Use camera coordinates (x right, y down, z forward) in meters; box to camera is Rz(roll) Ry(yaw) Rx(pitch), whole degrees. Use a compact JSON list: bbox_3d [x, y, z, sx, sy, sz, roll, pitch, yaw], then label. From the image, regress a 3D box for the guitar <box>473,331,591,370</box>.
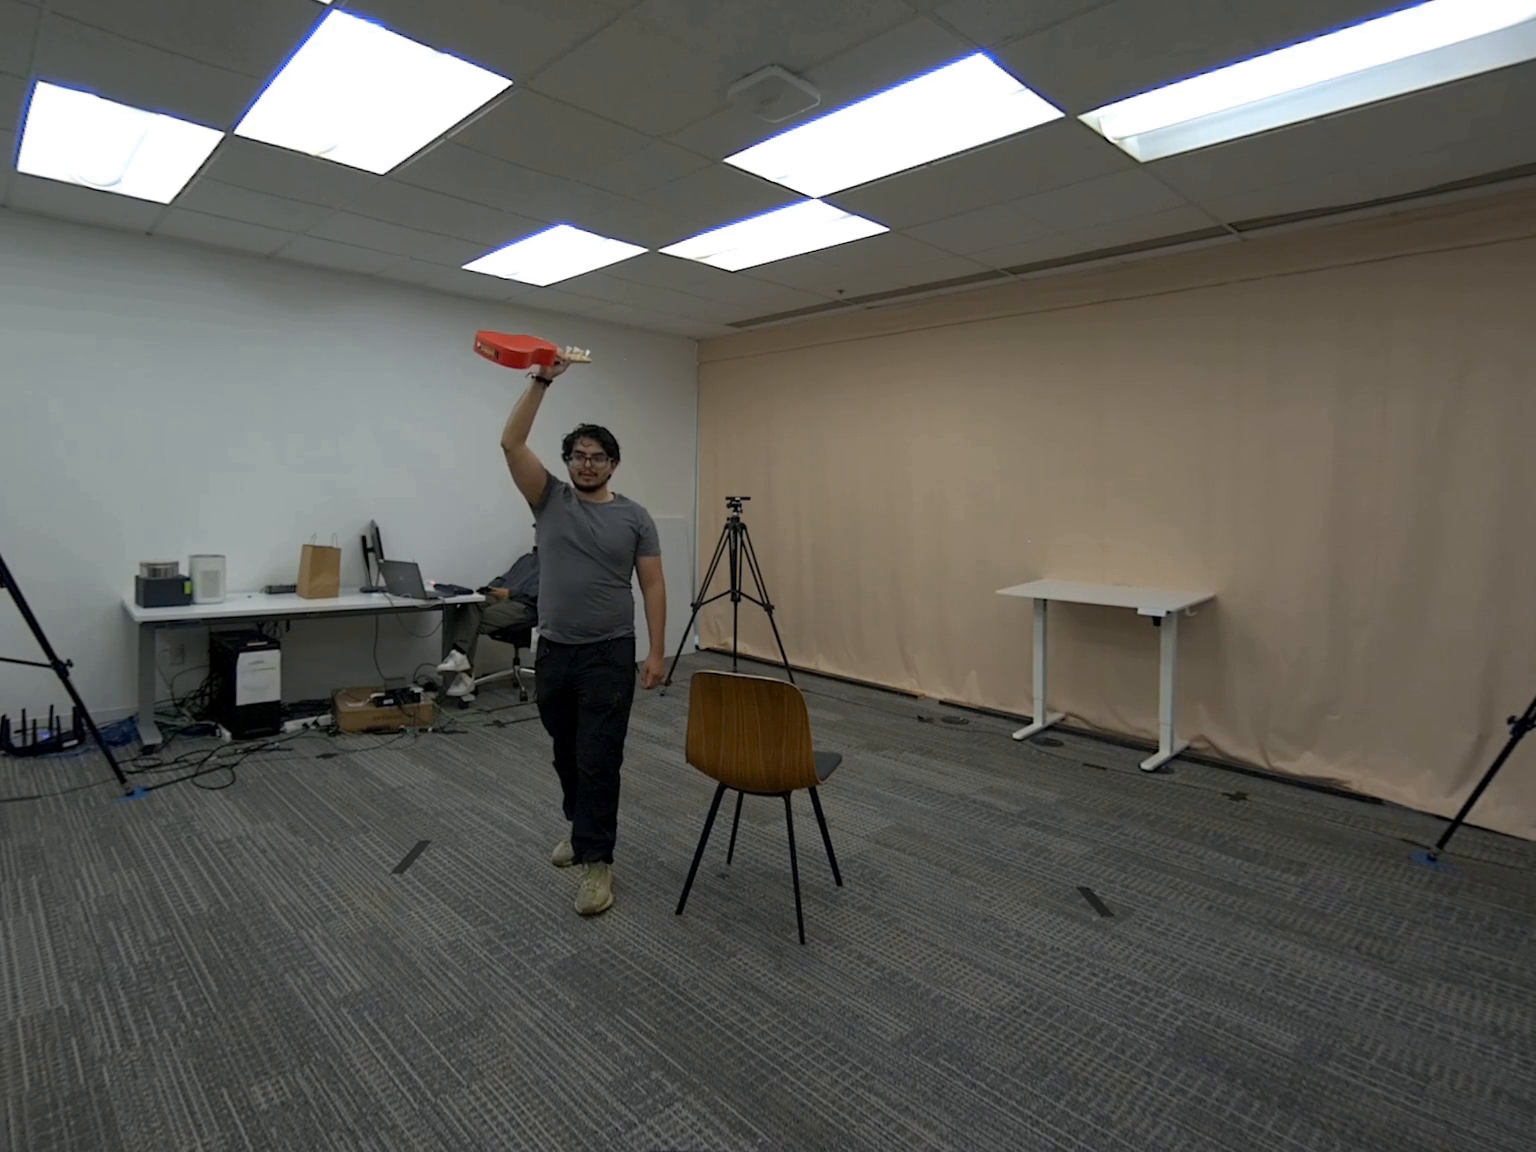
[{"bbox_3d":[-0.793,-0.762,2.804,0.195,0.070,0.496,24,22,10],"label":"guitar"}]
